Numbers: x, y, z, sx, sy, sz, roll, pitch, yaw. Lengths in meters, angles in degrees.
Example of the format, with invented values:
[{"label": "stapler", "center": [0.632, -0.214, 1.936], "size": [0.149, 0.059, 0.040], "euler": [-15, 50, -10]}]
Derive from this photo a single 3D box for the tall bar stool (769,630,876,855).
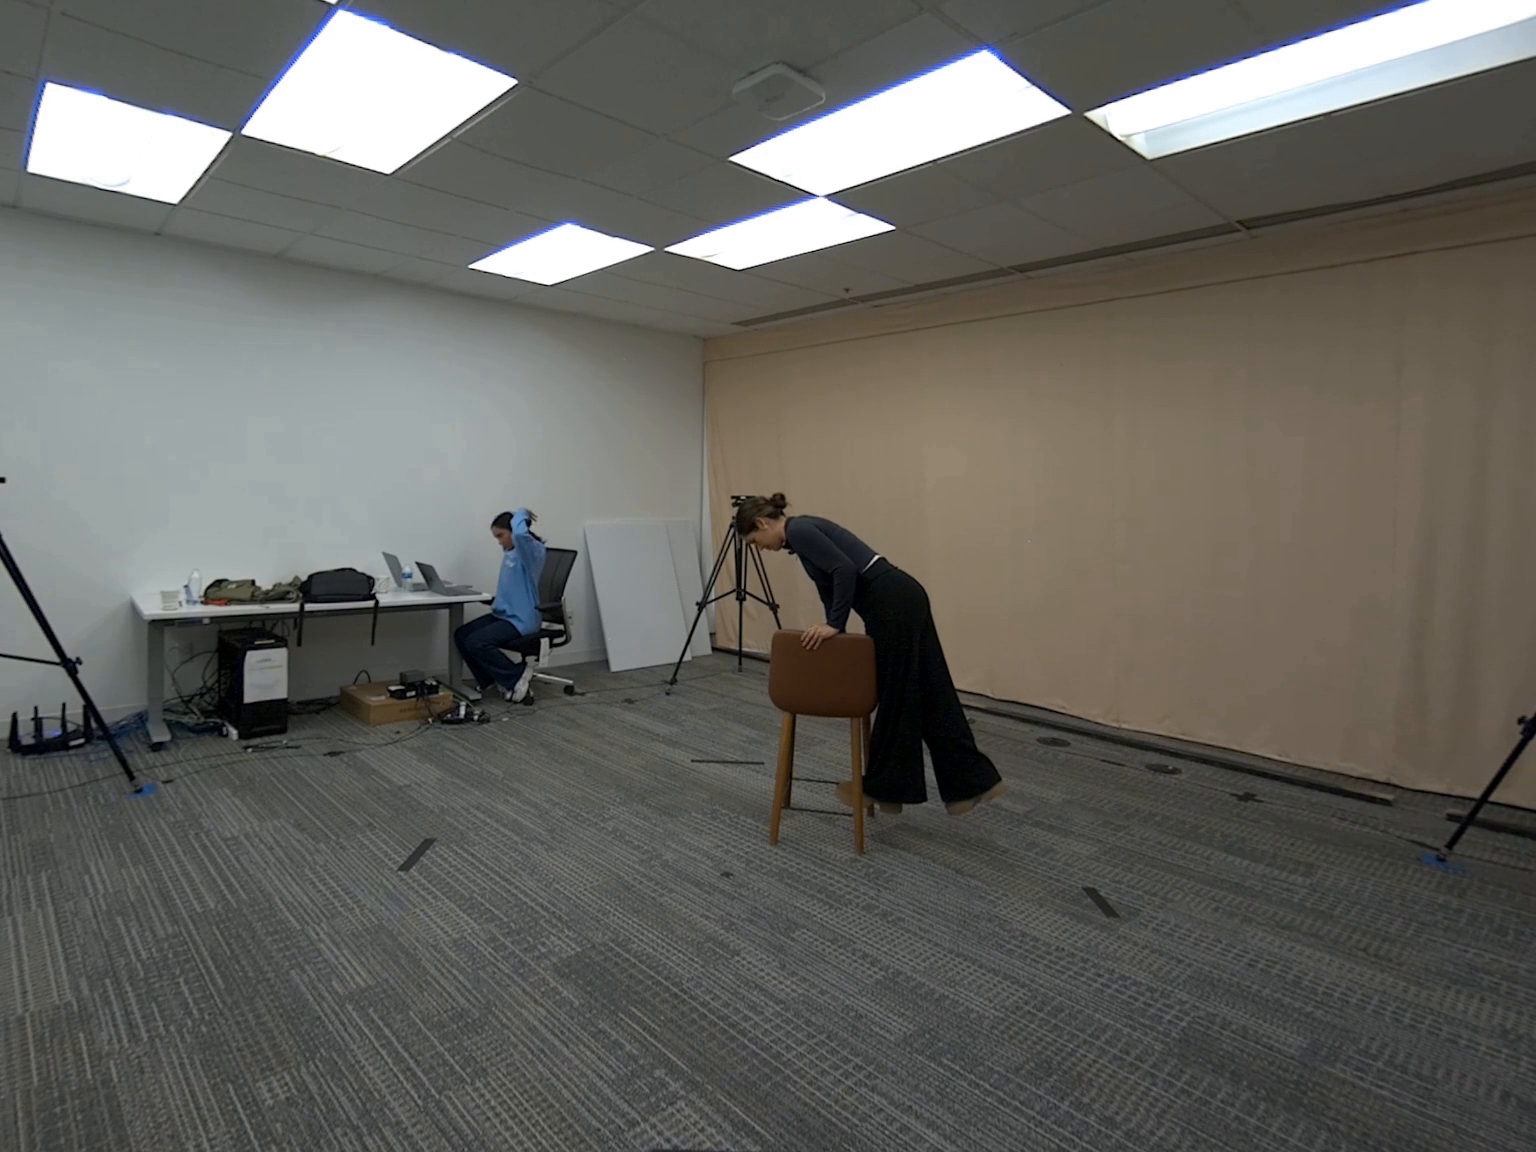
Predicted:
[{"label": "tall bar stool", "center": [0.232, 0.638, 3.542], "size": [0.461, 0.887, 0.464], "euler": [2, 4, 12]}]
